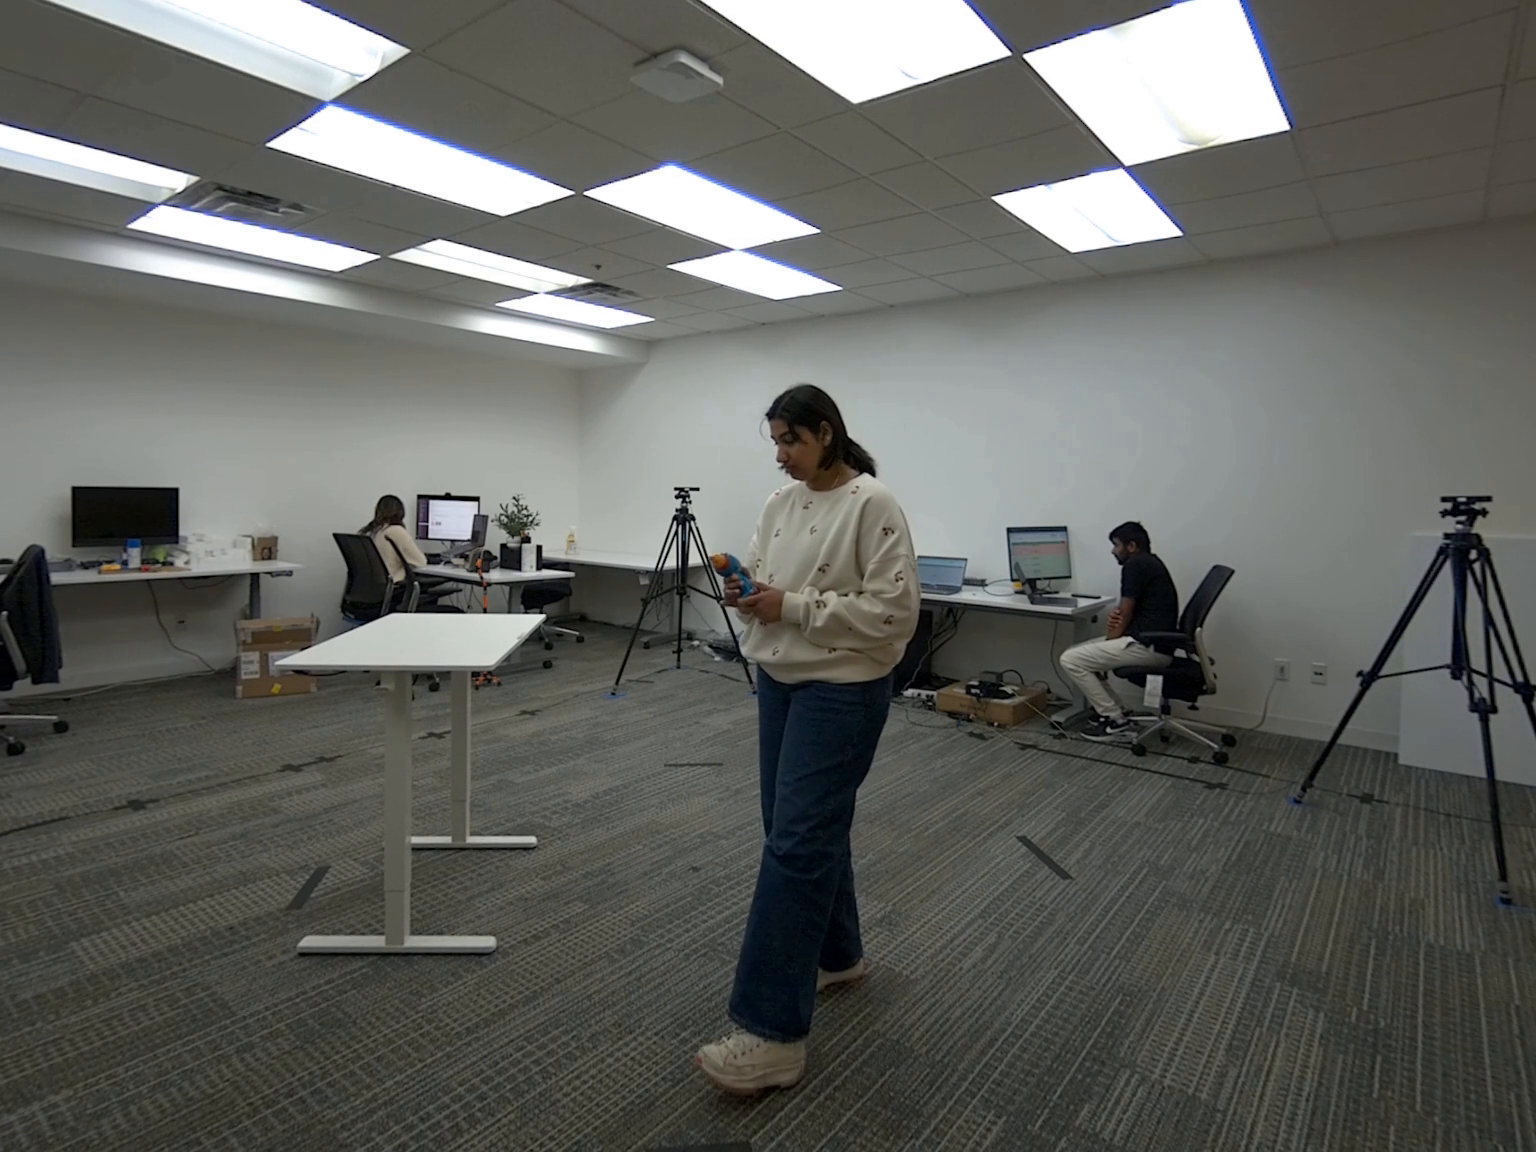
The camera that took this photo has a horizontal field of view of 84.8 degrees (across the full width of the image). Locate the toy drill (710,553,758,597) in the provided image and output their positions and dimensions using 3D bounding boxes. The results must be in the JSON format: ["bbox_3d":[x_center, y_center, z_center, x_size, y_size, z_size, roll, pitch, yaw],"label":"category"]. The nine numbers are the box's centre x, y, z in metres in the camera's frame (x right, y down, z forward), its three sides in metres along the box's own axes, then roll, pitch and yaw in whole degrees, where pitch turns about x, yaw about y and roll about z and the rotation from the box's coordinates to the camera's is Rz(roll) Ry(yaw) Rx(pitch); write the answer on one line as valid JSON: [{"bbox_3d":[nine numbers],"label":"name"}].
[{"bbox_3d":[-0.091,-0.011,2.154,0.150,0.061,0.165,44,-1,18],"label":"toy drill"}]
